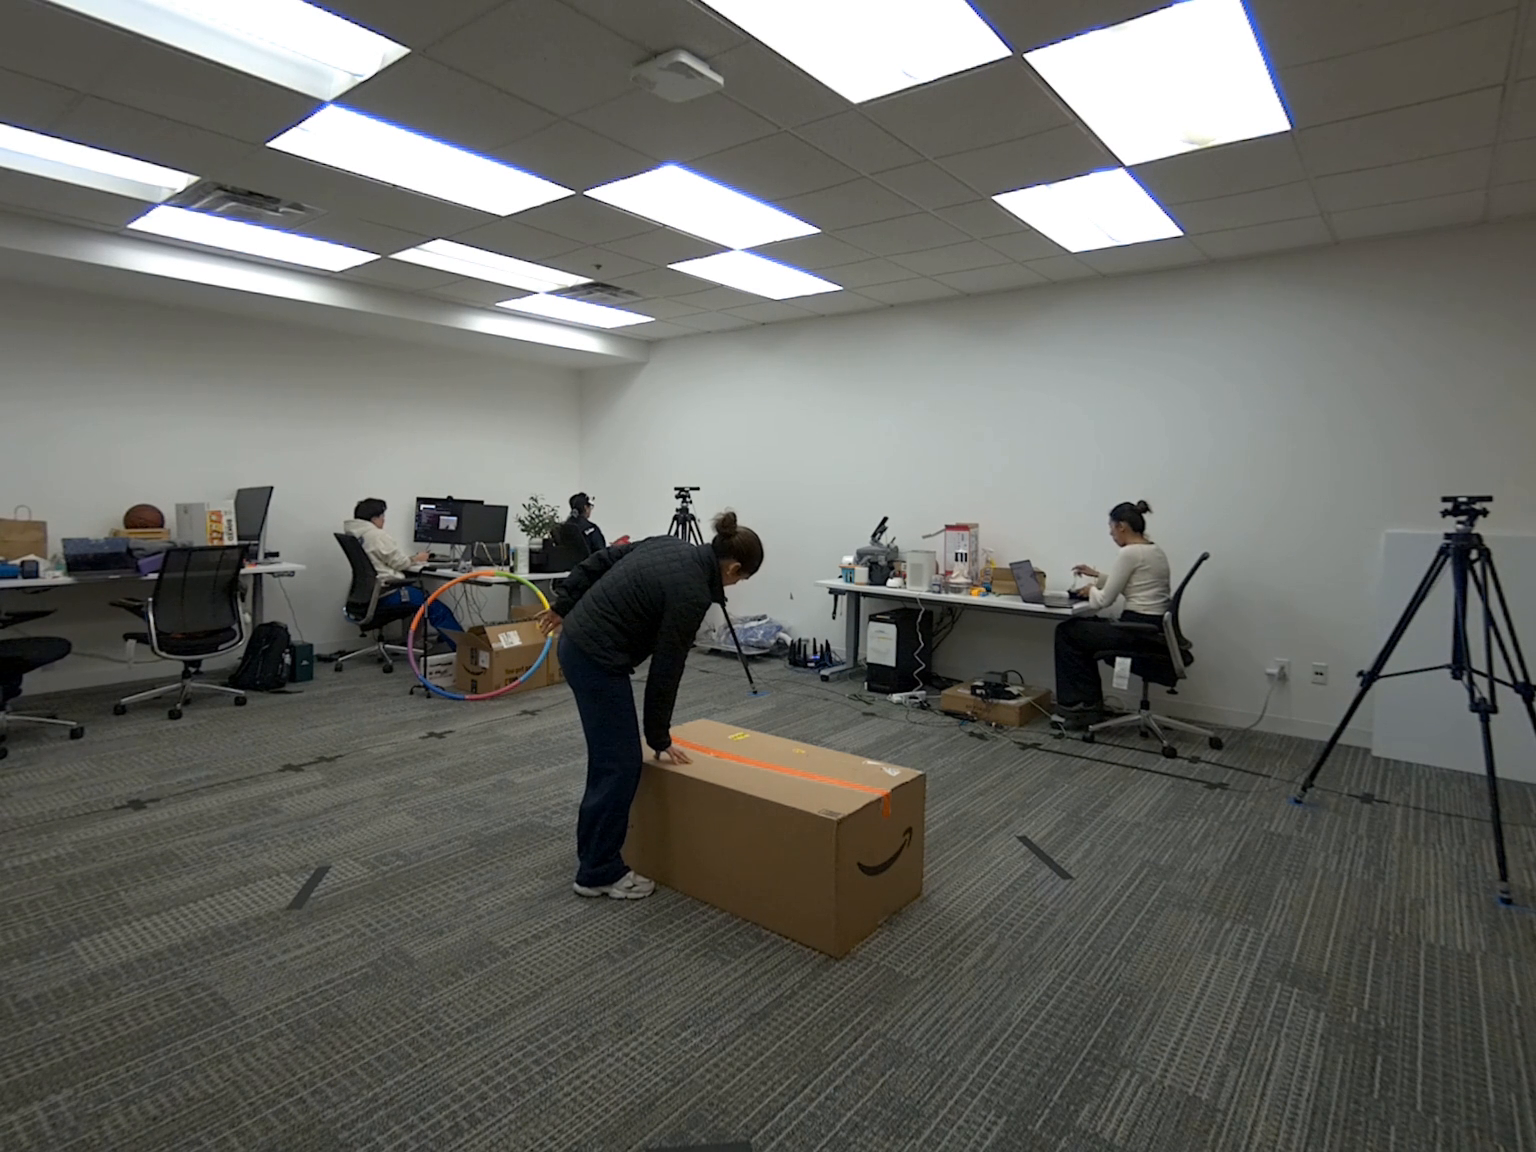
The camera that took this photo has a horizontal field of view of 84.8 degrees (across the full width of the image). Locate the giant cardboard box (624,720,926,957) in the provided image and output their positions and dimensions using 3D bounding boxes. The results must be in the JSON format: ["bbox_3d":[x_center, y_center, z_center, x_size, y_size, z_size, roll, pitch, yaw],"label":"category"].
[{"bbox_3d":[-0.021,0.867,3.060,1.062,0.444,0.567,6,8,39],"label":"giant cardboard box"}]
